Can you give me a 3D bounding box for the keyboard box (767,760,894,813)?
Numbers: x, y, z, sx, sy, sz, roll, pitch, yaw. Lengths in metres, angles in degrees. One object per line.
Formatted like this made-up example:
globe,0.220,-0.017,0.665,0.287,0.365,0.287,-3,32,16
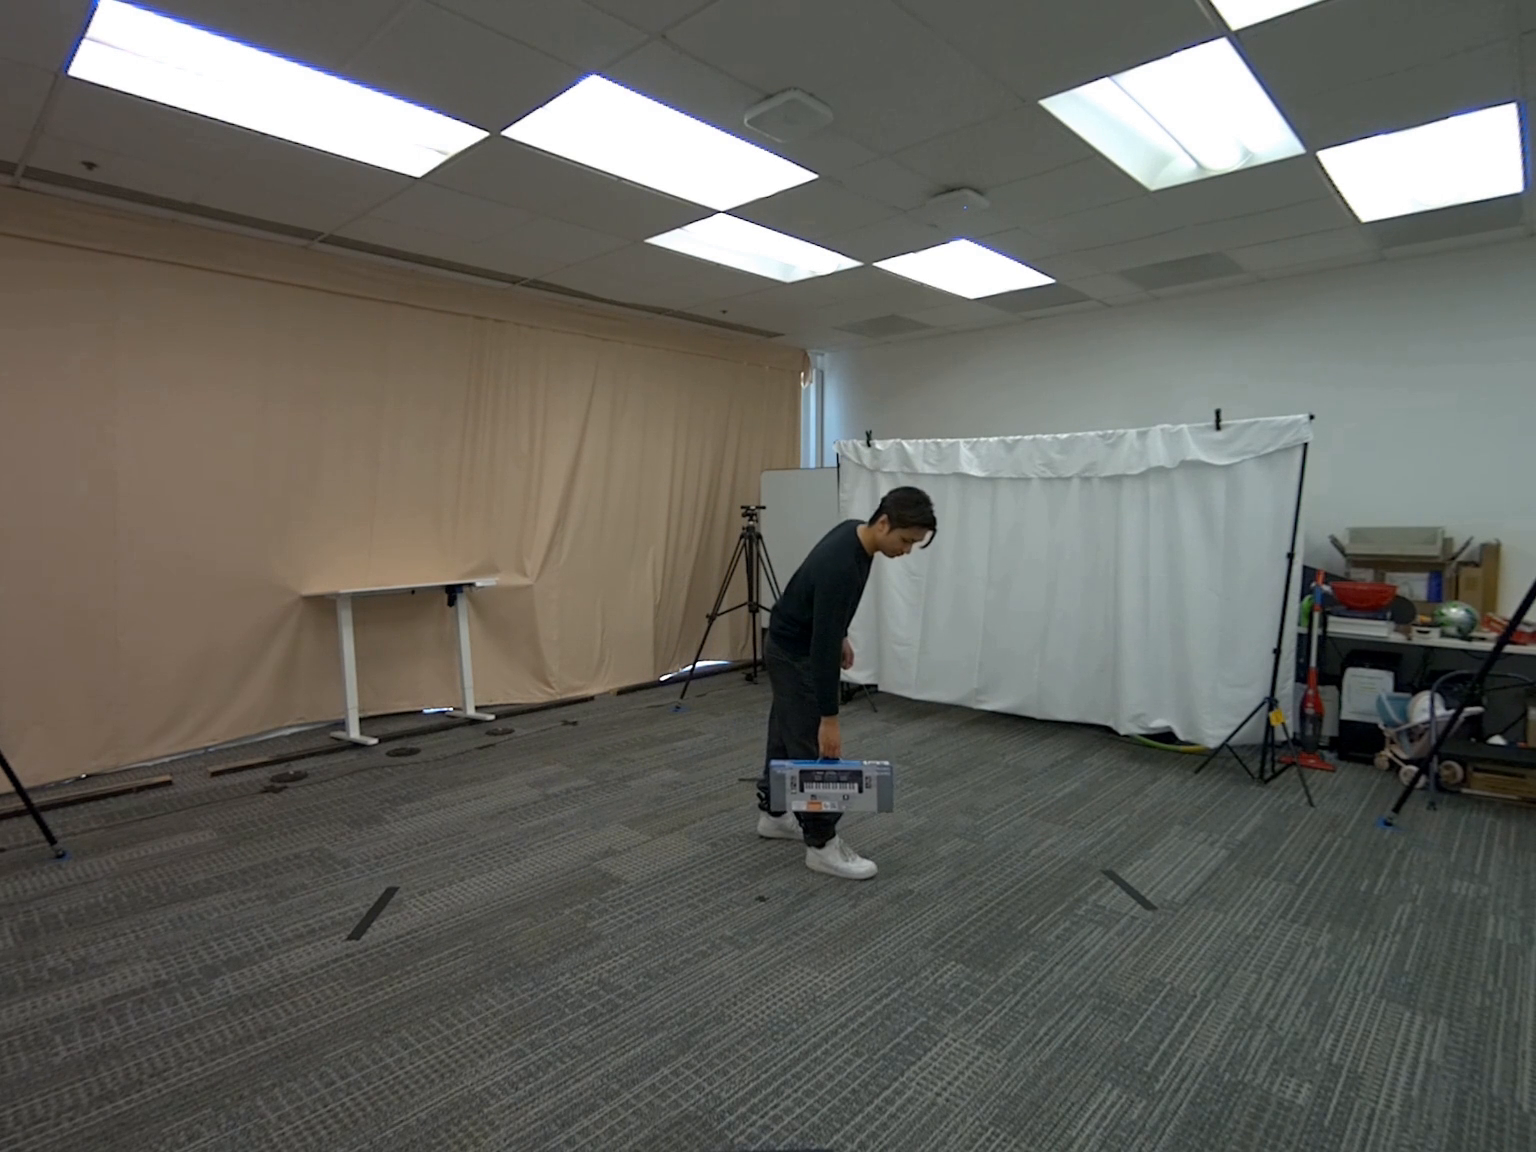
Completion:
keyboard box,0.235,0.753,3.040,0.439,0.175,0.059,-1,4,5
